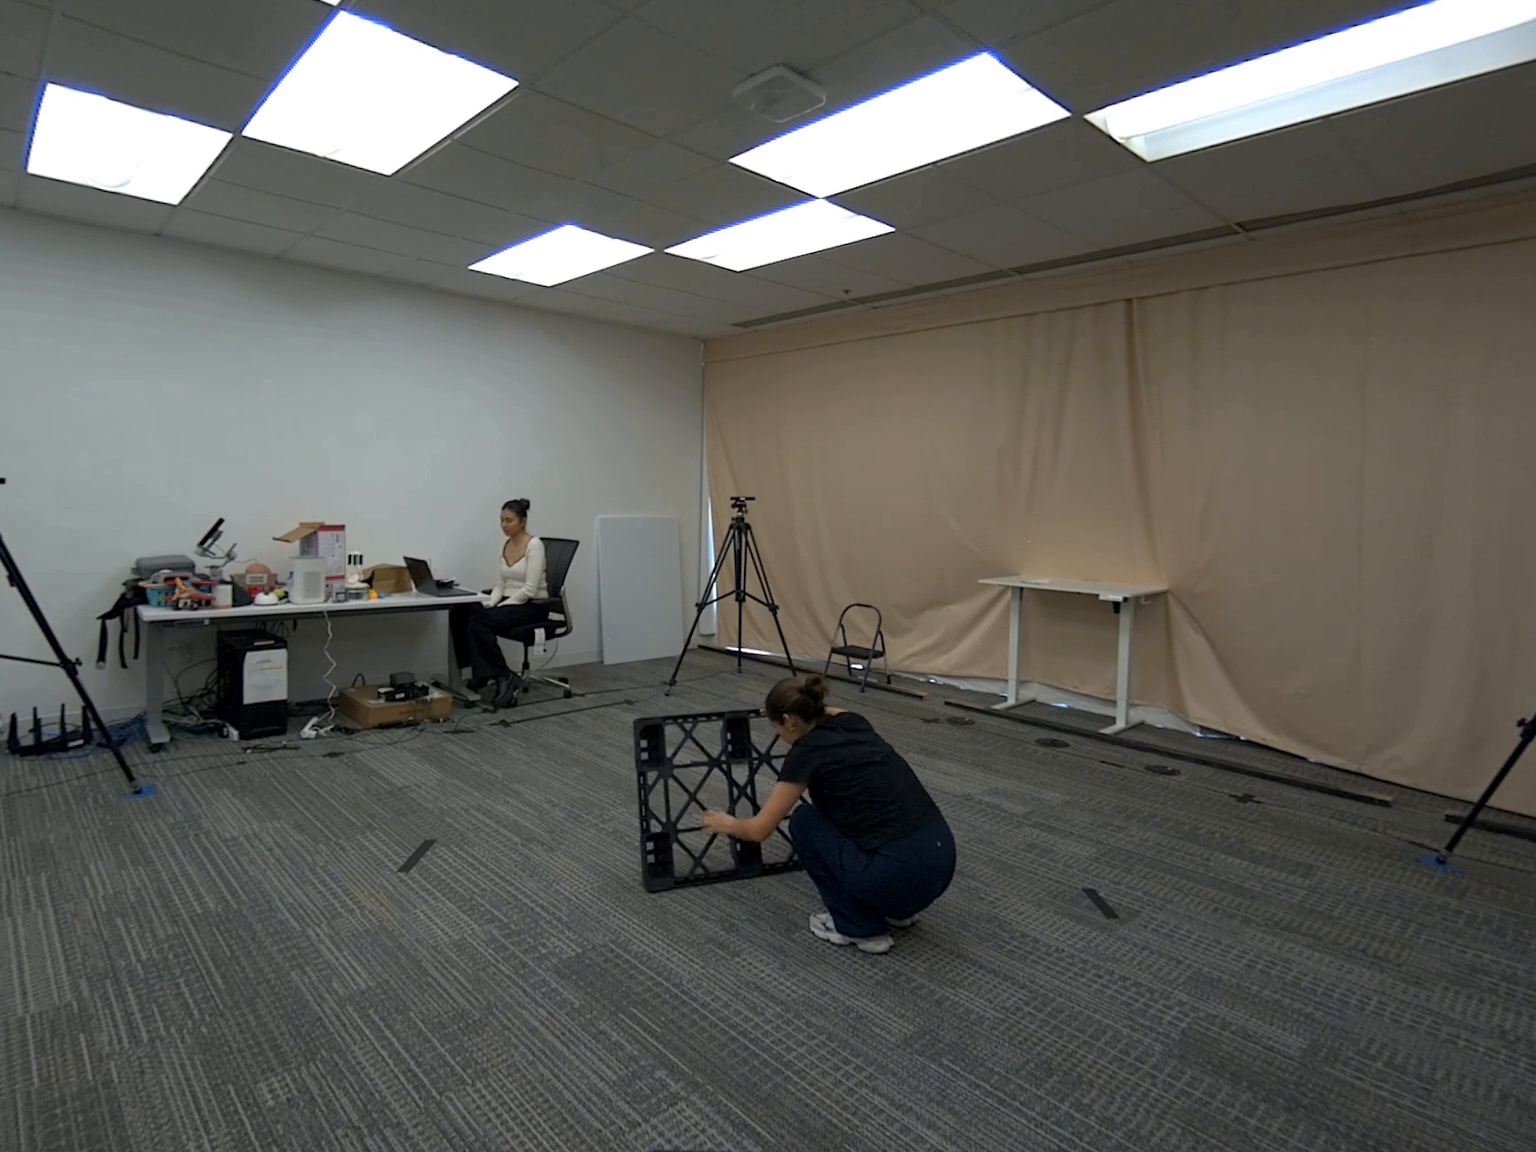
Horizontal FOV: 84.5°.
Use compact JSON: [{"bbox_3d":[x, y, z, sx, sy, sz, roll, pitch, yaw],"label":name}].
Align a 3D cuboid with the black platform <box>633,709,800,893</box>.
[{"bbox_3d":[-0.121,0.822,3.197,0.793,0.612,0.144,-1,-15,-21],"label":"black platform"}]
